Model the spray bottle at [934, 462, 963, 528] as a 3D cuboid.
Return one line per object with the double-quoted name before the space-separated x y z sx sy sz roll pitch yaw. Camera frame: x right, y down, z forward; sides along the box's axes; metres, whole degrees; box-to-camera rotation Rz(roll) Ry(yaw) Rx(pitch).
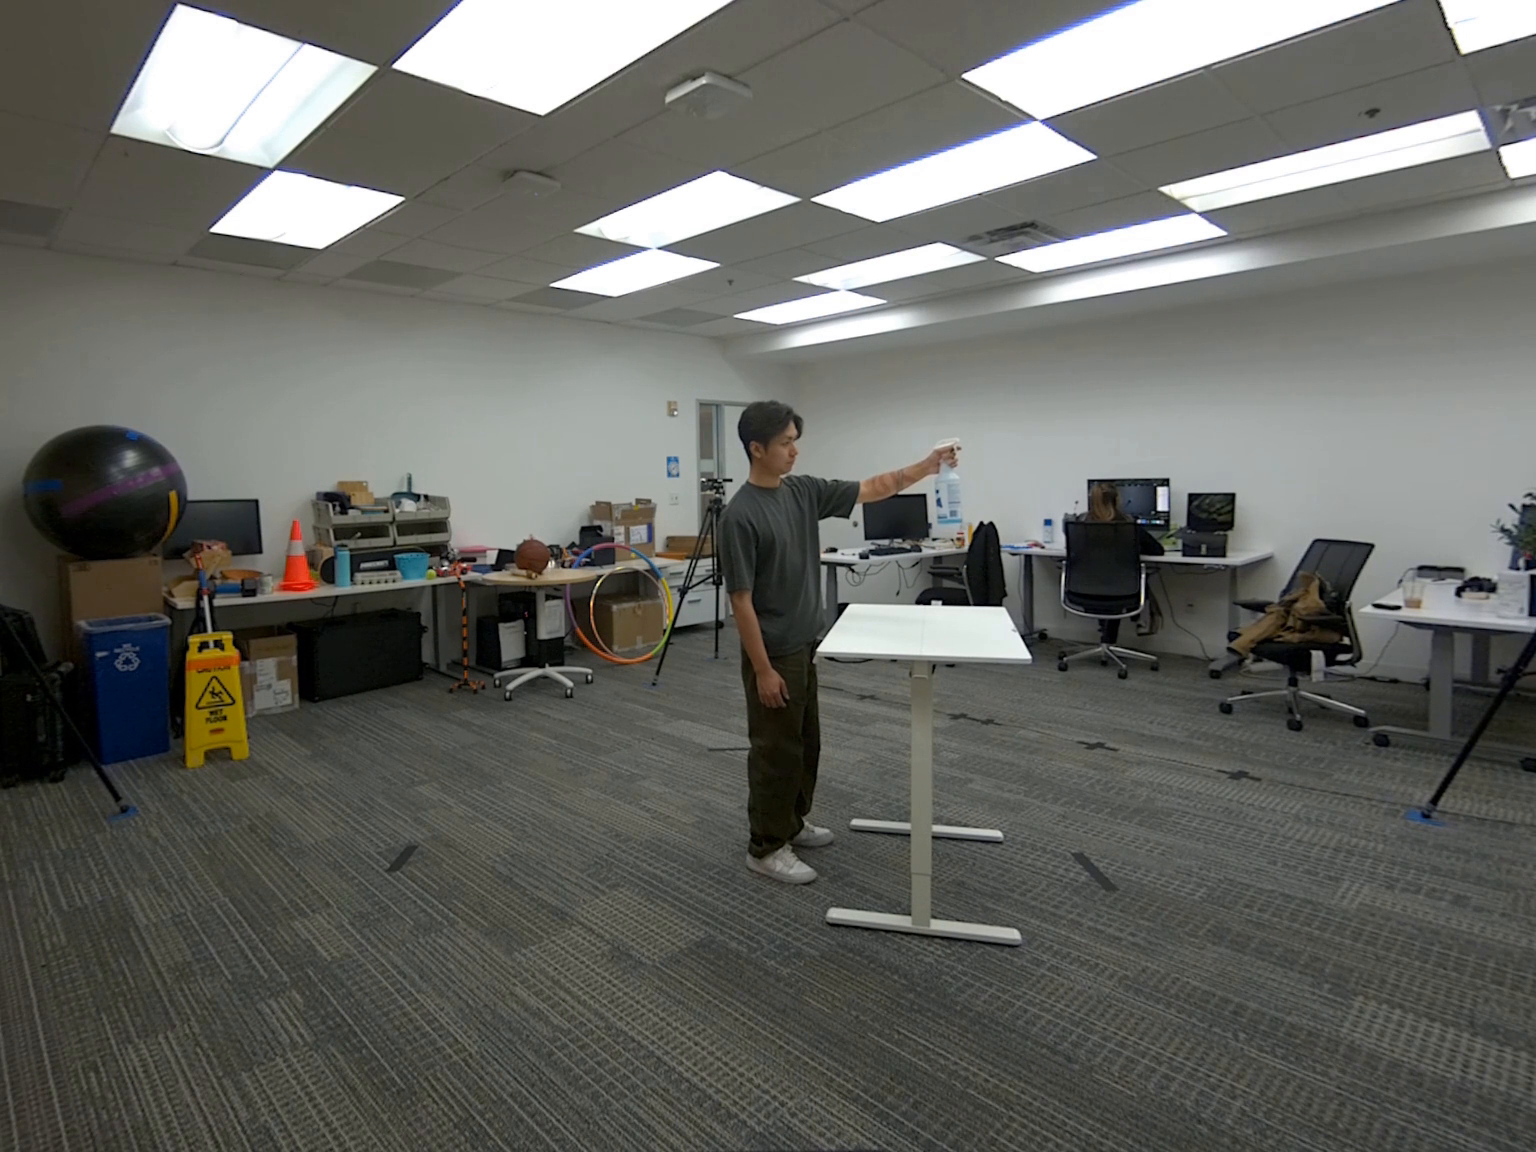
"spray bottle" 0.633 -0.326 2.993 0.085 0.297 0.092 -6 2 -33
